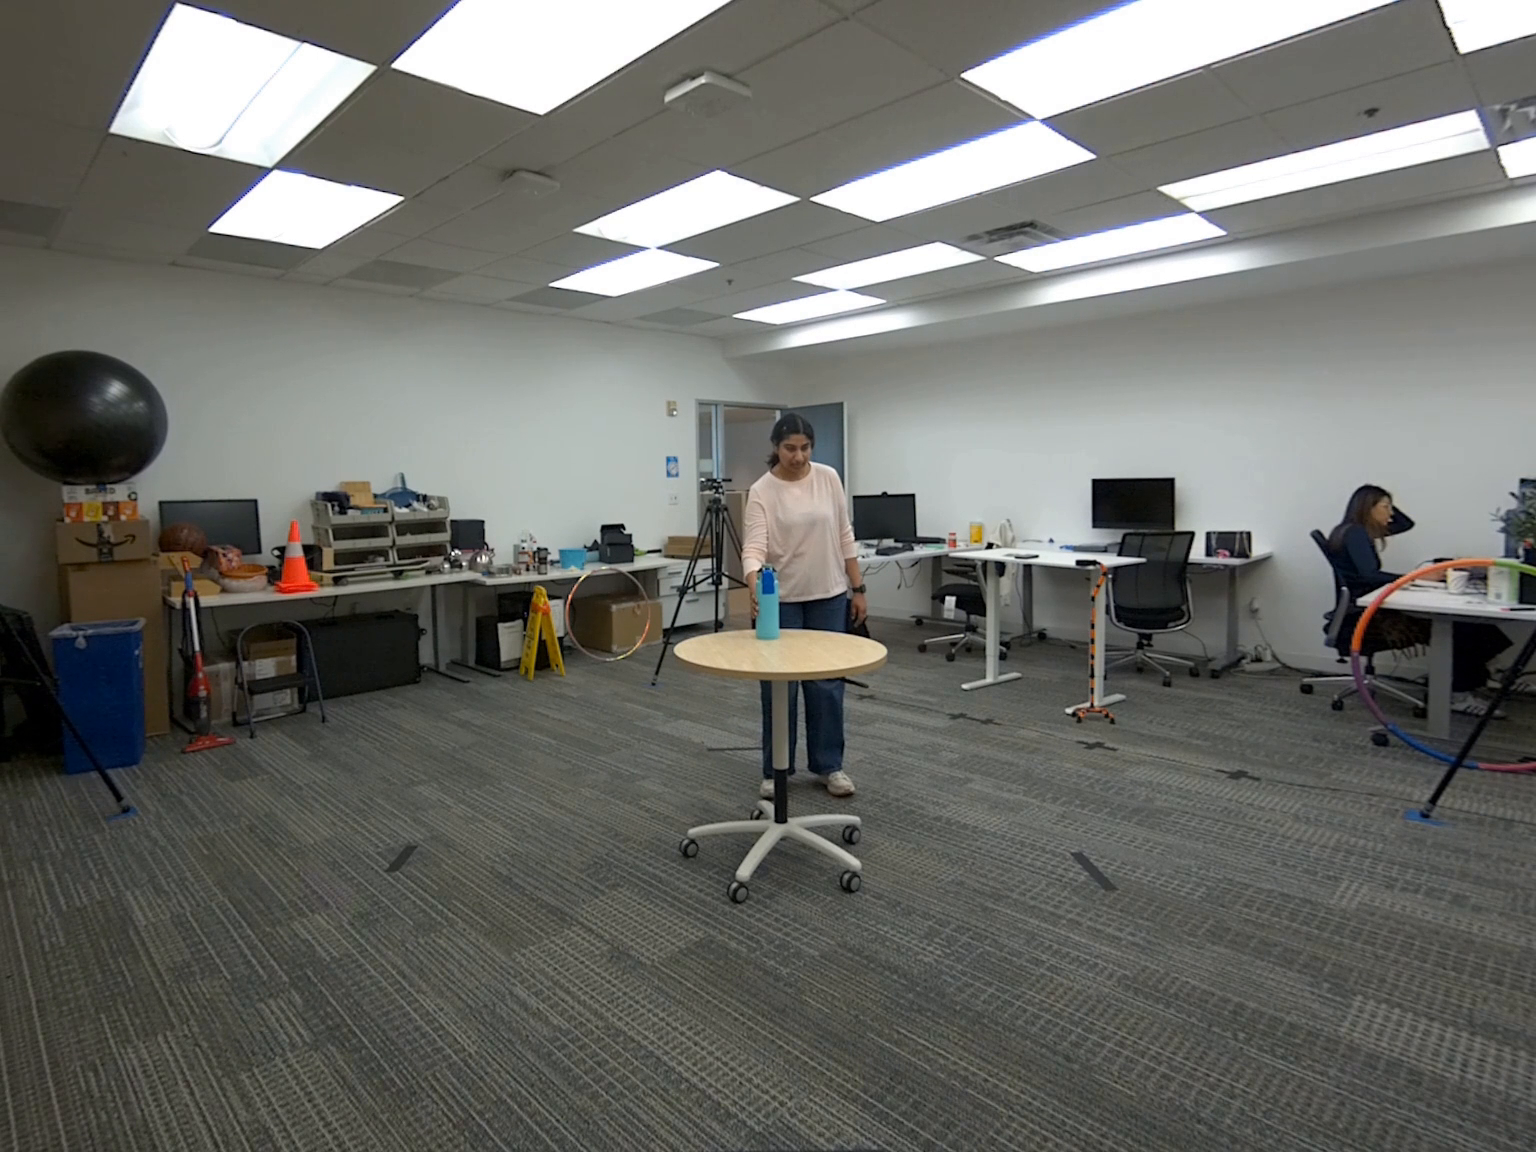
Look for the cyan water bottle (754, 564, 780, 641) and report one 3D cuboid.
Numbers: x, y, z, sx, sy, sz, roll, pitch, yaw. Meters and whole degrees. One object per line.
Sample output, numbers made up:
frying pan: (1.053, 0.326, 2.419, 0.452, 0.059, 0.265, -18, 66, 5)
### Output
cyan water bottle: (-0.003, 0.099, 3.283, 0.092, 0.282, 0.093, -1, 5, -2)
